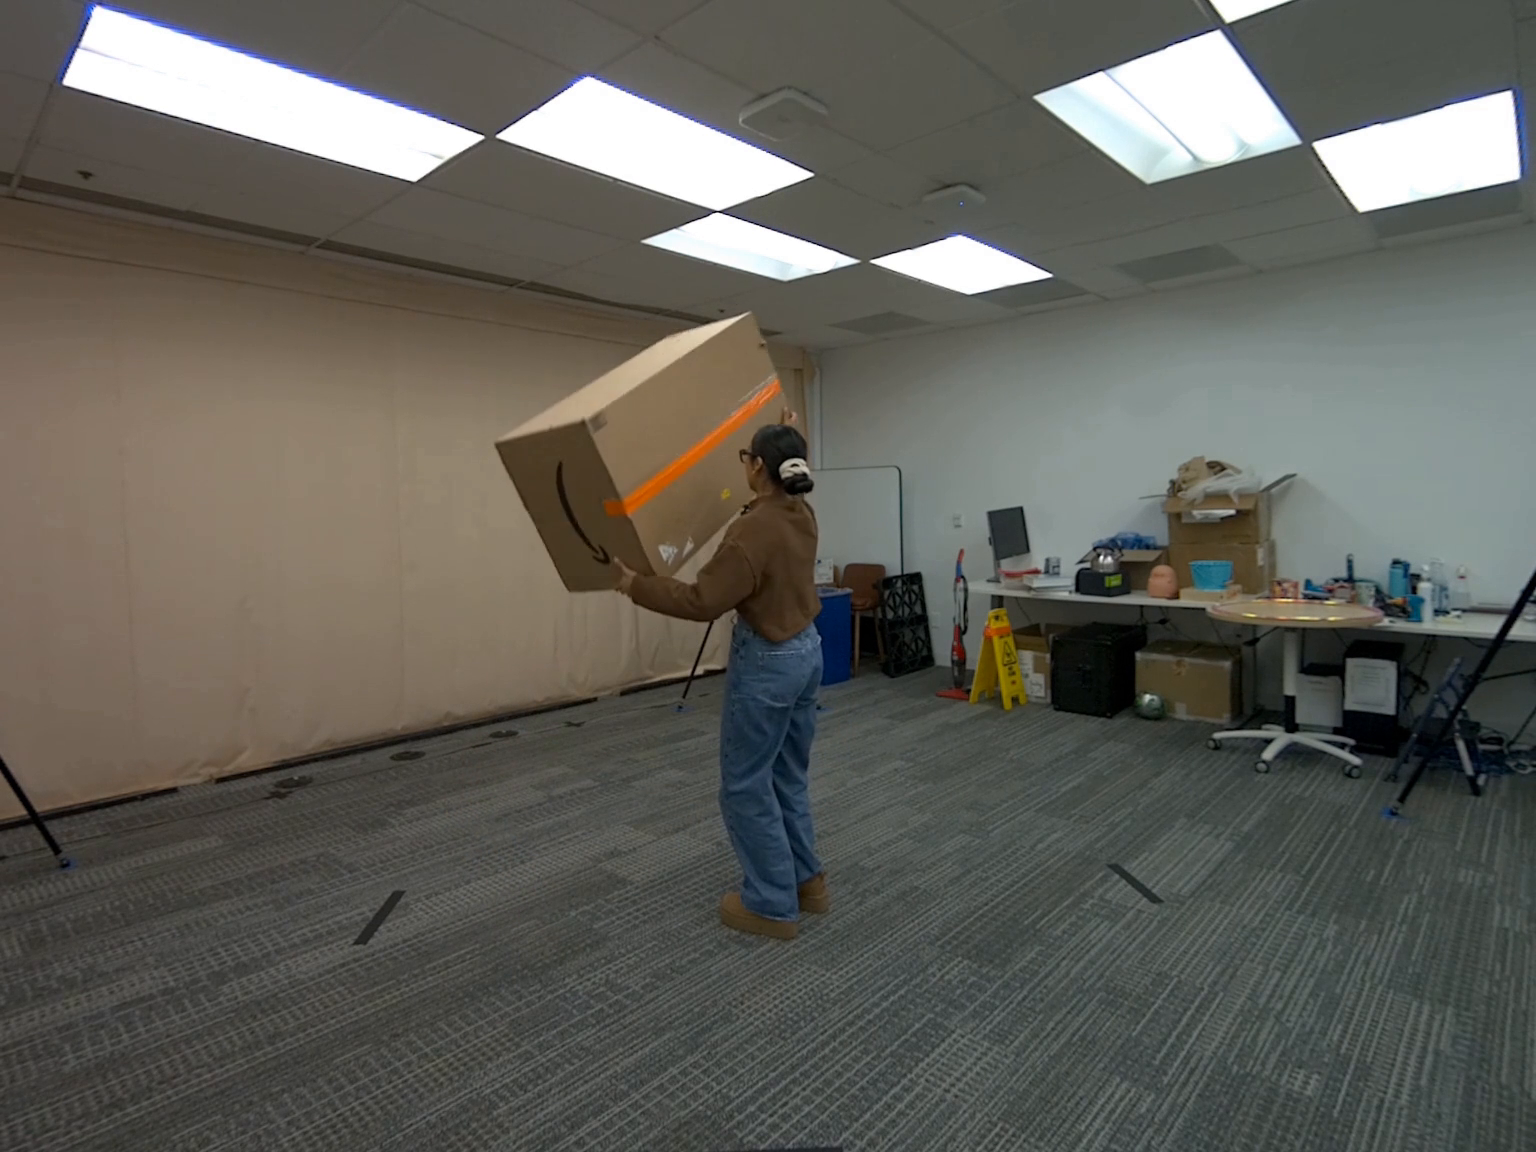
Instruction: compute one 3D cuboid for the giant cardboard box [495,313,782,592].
[{"bbox_3d":[-0.364,-0.447,2.999,0.439,0.565,1.017,-4,29,36],"label":"giant cardboard box"}]
